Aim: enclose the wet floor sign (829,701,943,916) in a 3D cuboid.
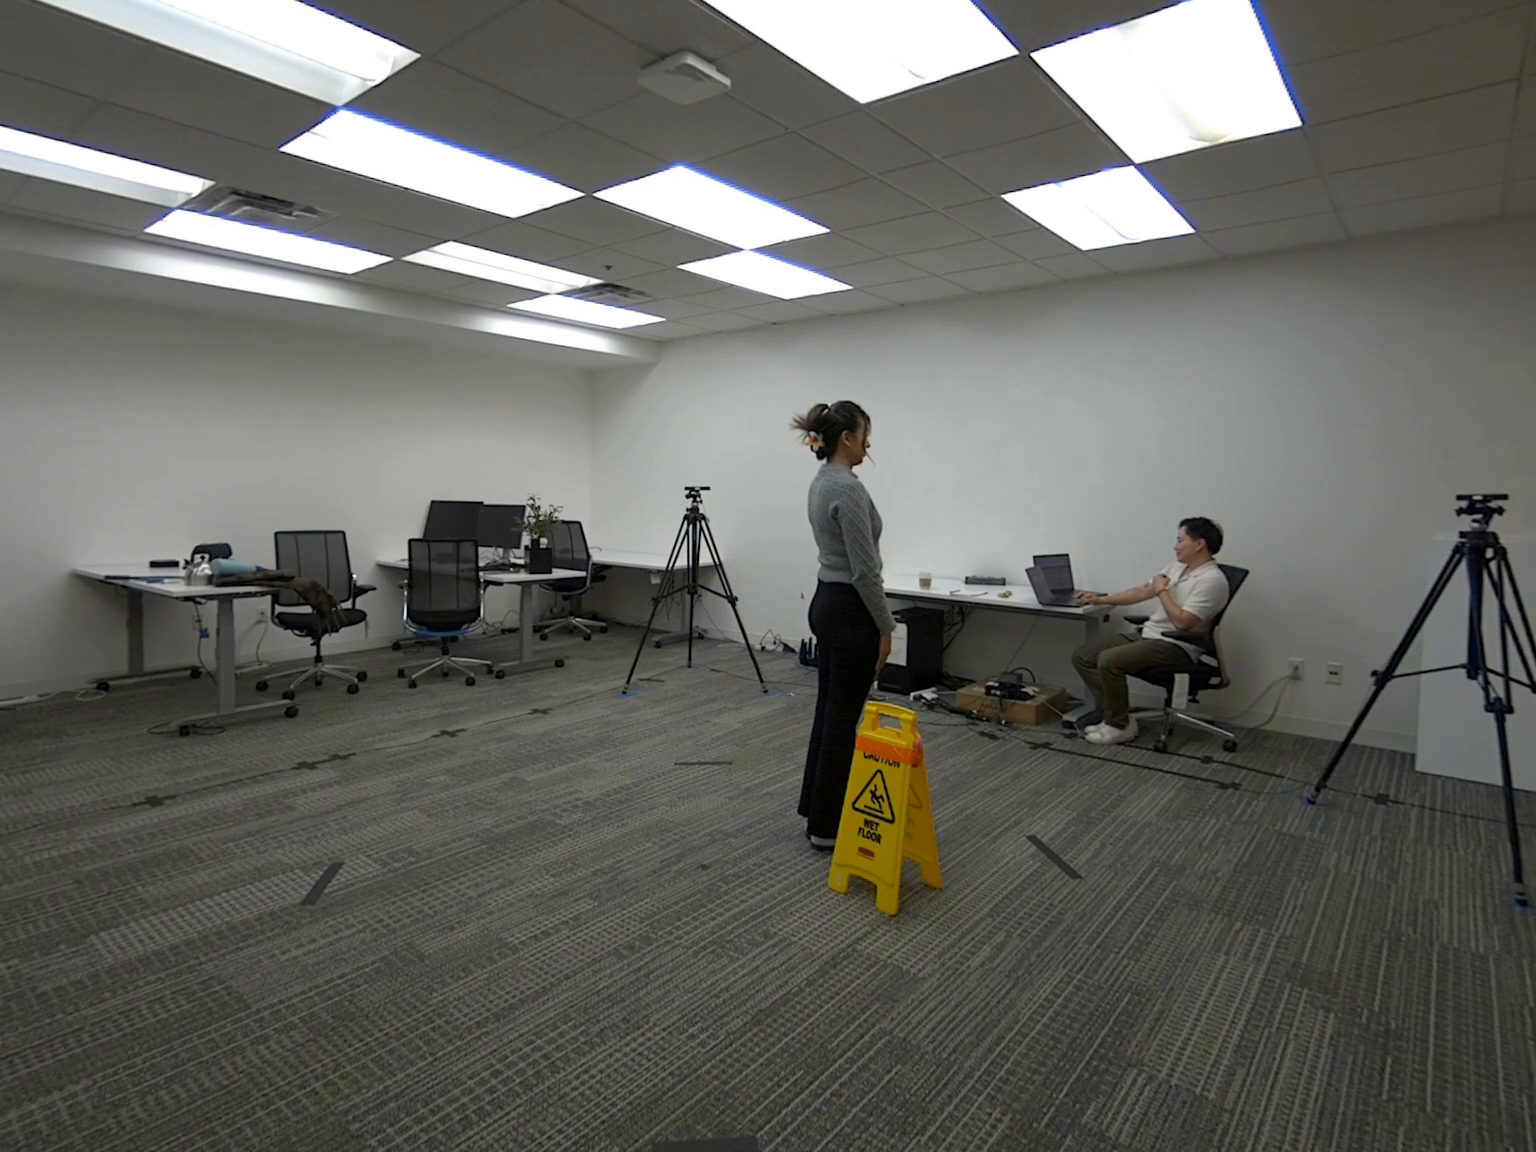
[{"bbox_3d":[0.413,0.767,2.963,0.292,0.644,0.281,4,5,44],"label":"wet floor sign"}]
